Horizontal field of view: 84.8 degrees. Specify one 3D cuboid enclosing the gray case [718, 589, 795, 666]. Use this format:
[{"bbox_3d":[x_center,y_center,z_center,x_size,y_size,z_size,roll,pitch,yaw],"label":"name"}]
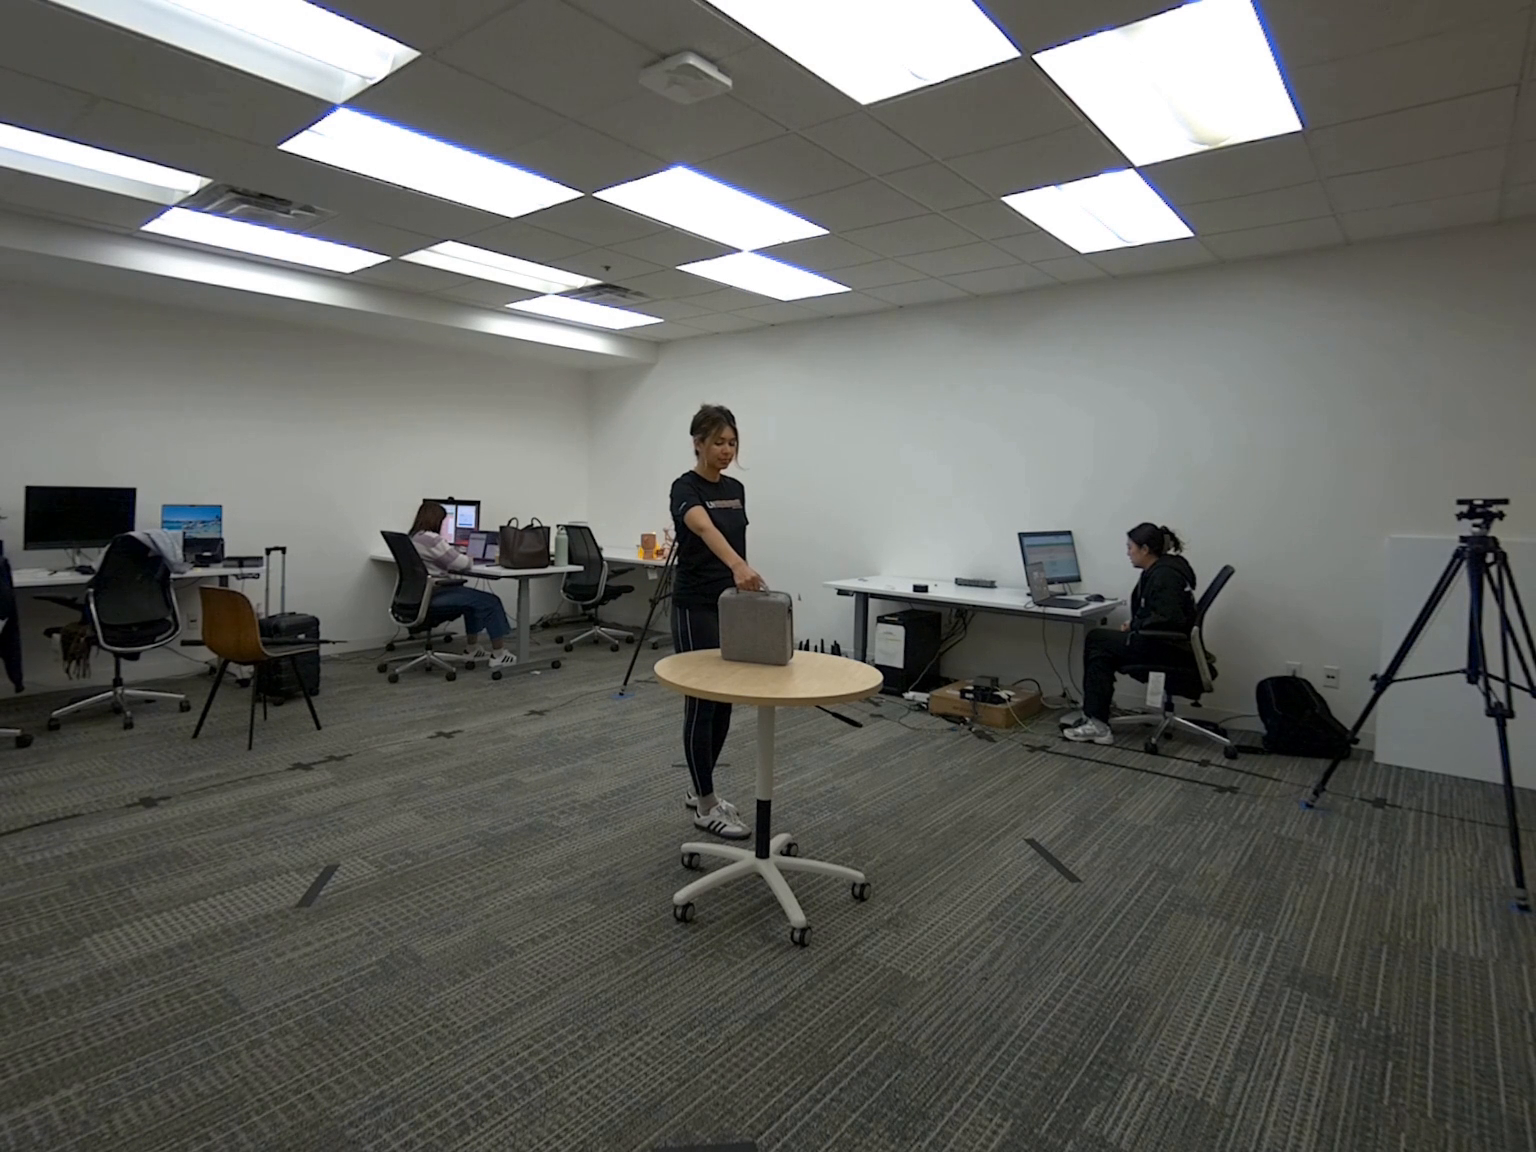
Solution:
[{"bbox_3d":[-0.048,0.169,2.972,0.262,0.257,0.104,3,15,19],"label":"gray case"}]
